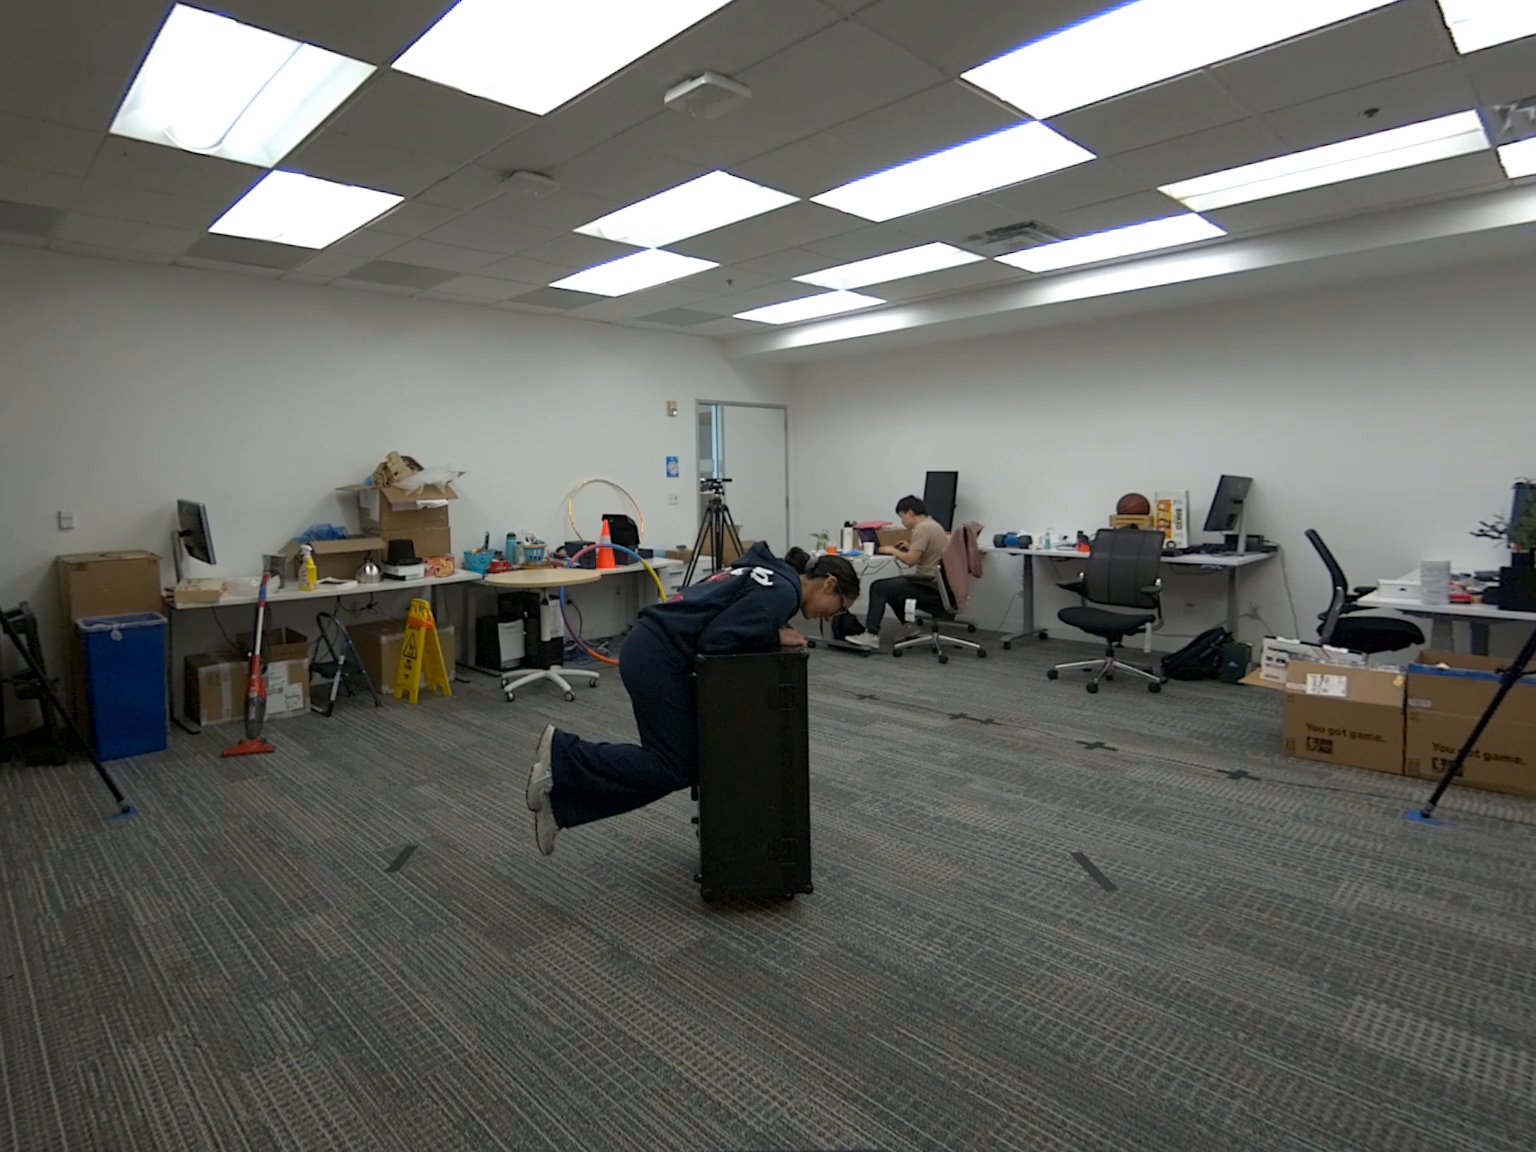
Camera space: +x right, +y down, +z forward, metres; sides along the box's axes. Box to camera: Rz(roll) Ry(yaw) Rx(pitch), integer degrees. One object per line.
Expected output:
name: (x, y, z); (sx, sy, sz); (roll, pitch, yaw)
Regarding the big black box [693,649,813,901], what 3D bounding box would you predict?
big black box: (-0.083, 0.647, 2.930); (0.395, 0.857, 0.525); (-2, 6, -4)
